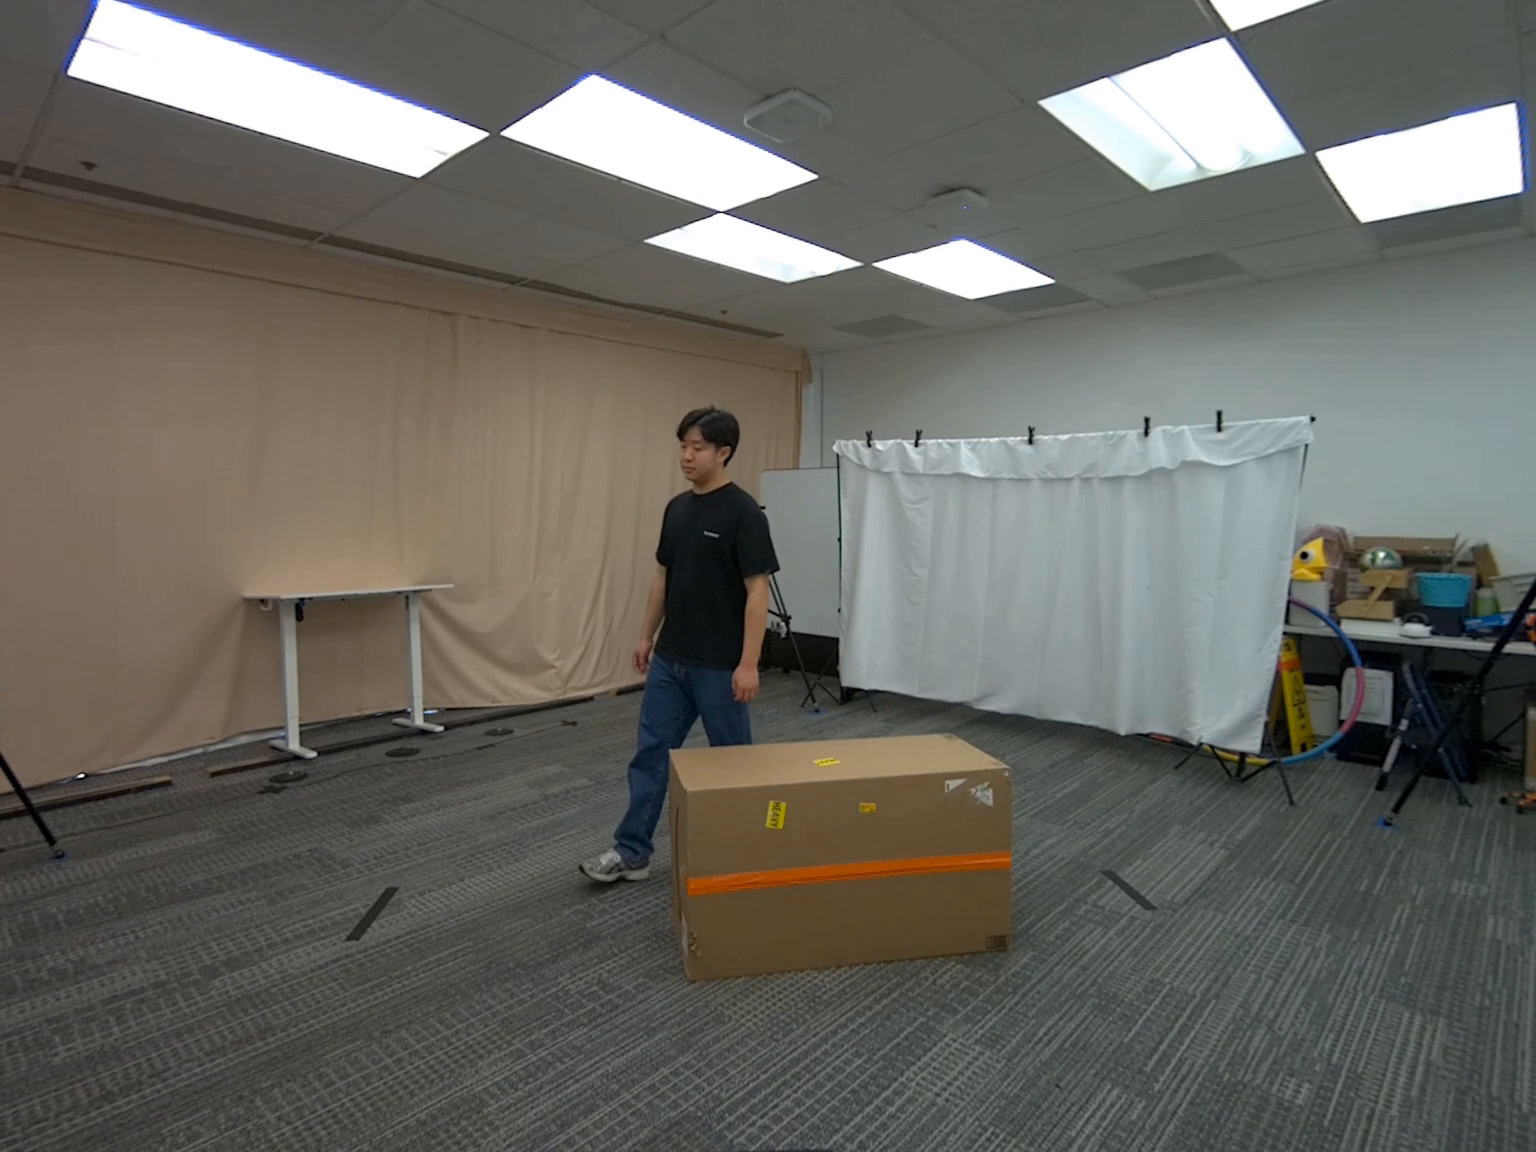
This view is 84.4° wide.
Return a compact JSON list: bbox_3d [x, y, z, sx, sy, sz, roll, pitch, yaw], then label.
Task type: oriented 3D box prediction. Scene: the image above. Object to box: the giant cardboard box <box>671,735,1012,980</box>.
[{"bbox_3d":[0.218,0.878,2.731,1.015,0.582,0.453,-2,5,-11],"label":"giant cardboard box"}]
